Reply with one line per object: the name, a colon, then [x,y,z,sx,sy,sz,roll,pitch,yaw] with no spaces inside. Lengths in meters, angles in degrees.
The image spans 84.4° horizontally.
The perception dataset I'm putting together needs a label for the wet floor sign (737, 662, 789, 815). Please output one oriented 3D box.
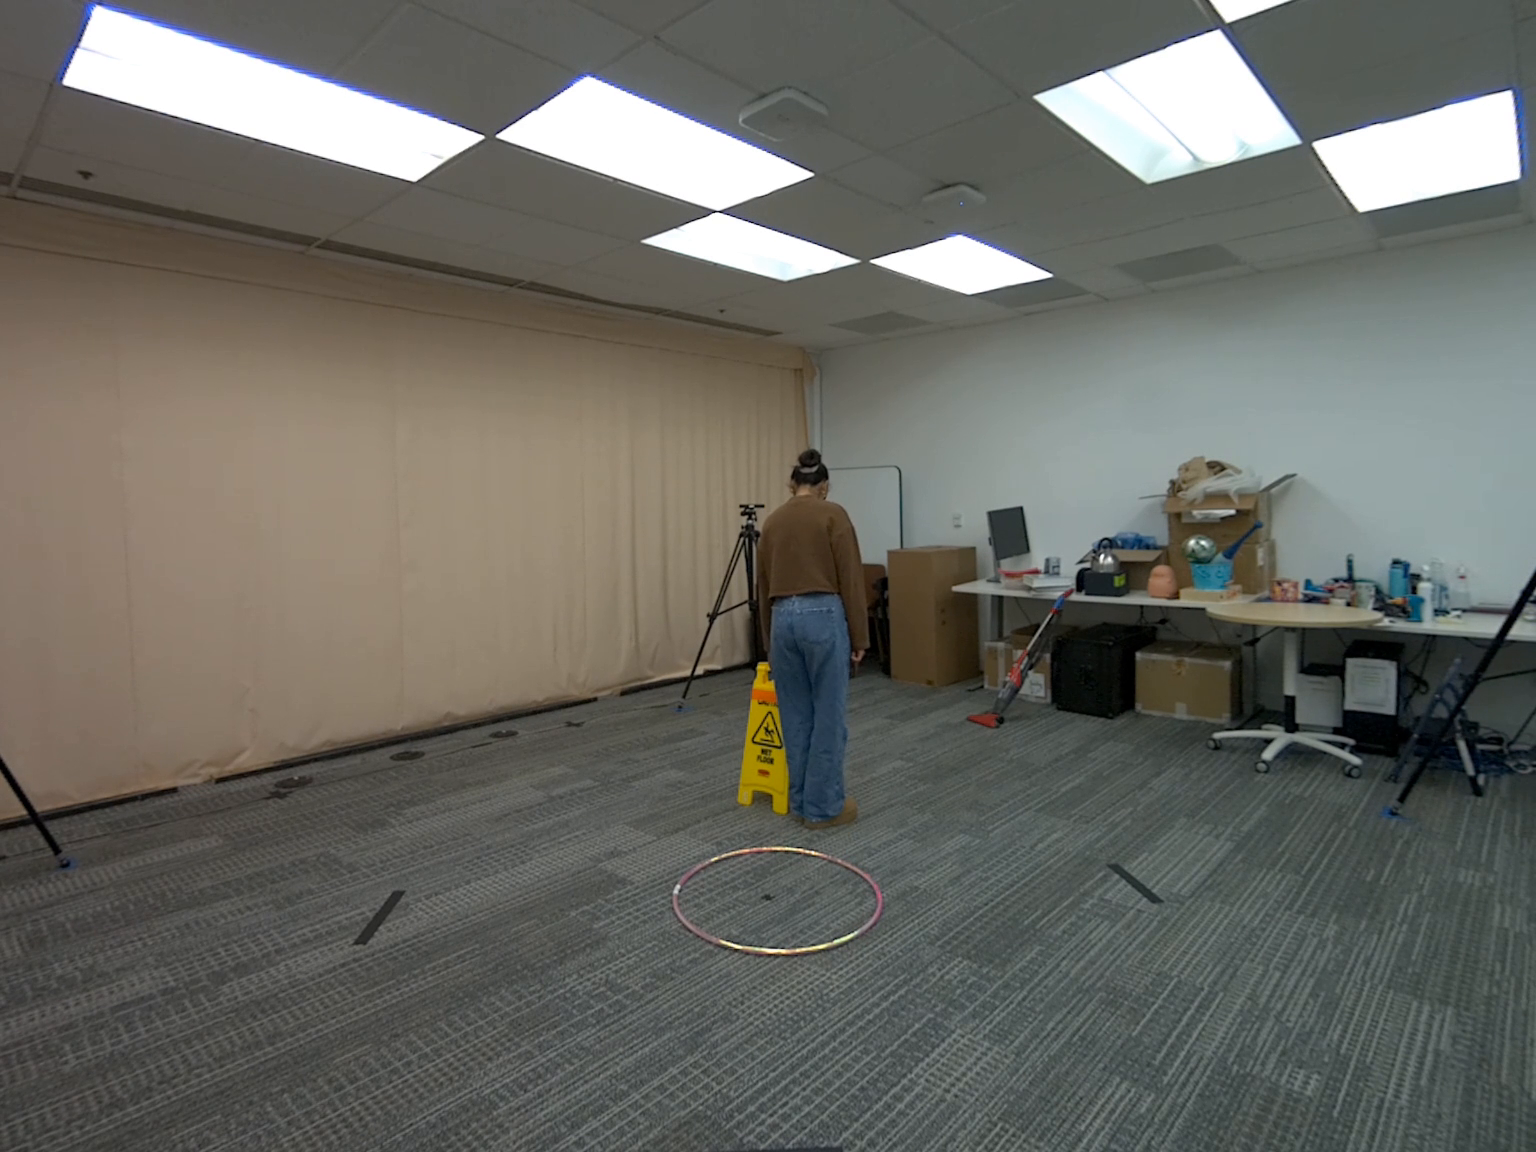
wet floor sign: [0.039,0.733,3.962,0.291,0.645,0.281,1,4,37]
